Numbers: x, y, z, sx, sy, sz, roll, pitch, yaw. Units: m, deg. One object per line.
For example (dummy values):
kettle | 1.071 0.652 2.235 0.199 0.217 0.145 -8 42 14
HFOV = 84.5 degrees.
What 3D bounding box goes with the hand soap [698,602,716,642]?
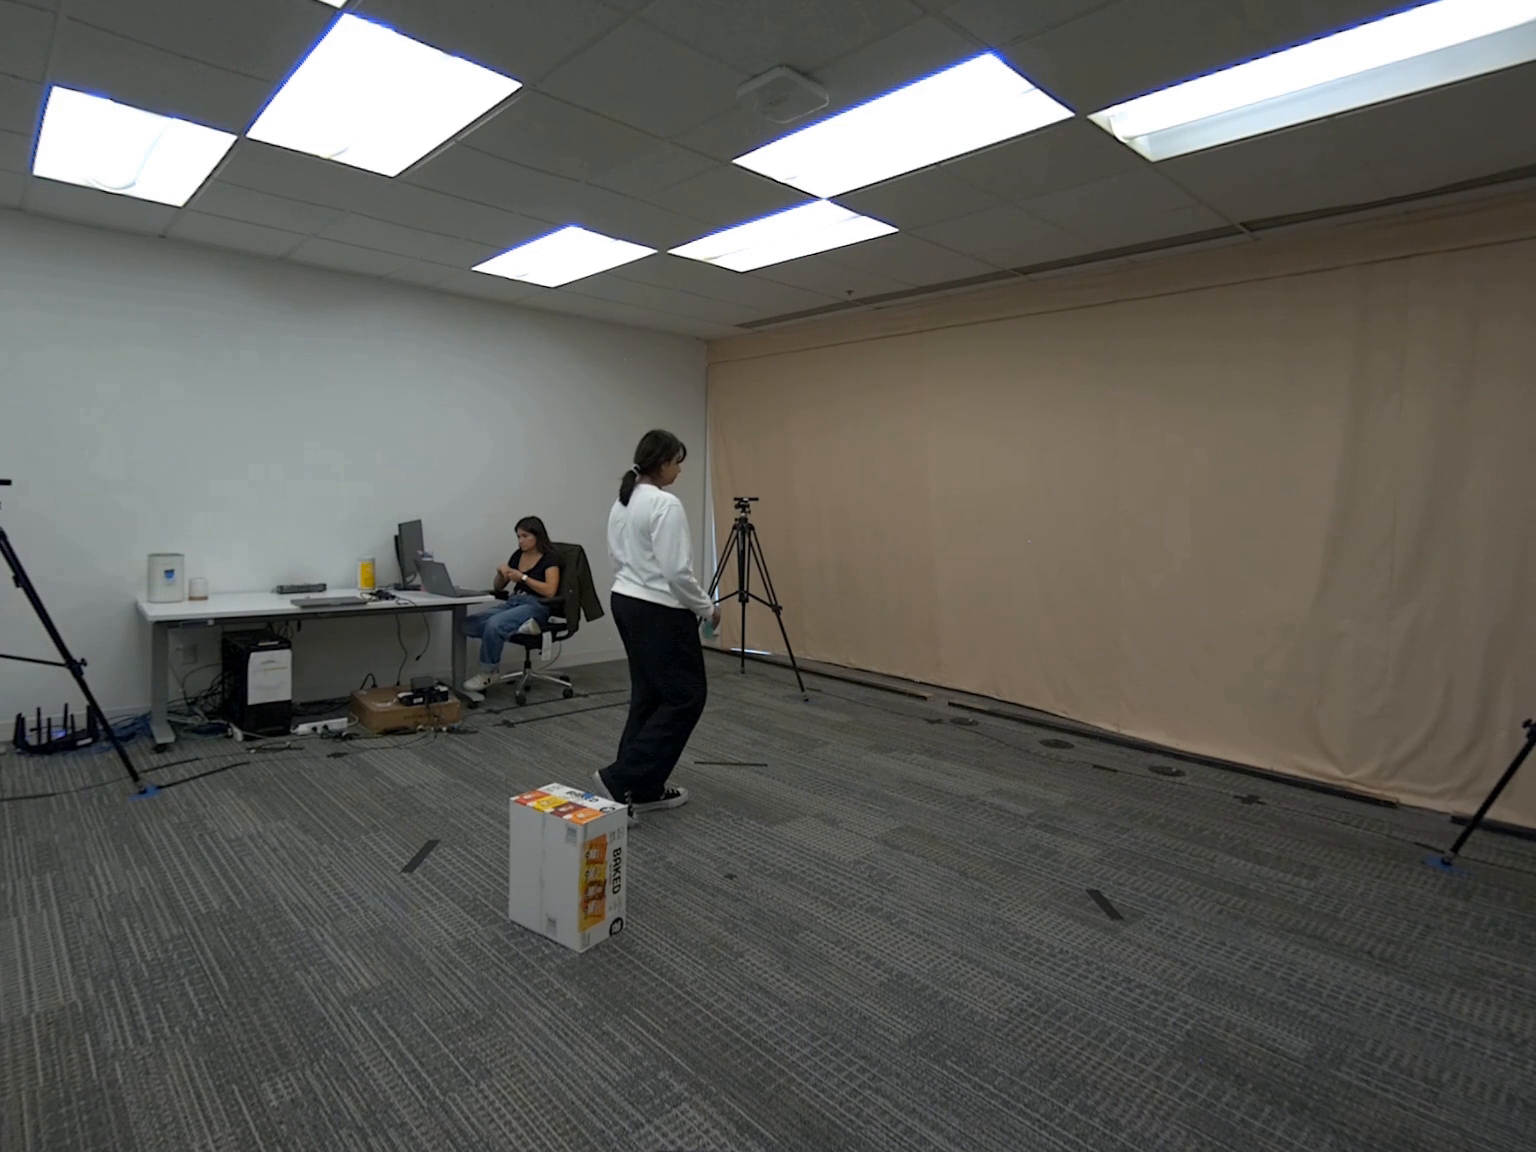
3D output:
hand soap | -0.277 0.197 3.755 0.043 0.168 0.086 6 2 -21
